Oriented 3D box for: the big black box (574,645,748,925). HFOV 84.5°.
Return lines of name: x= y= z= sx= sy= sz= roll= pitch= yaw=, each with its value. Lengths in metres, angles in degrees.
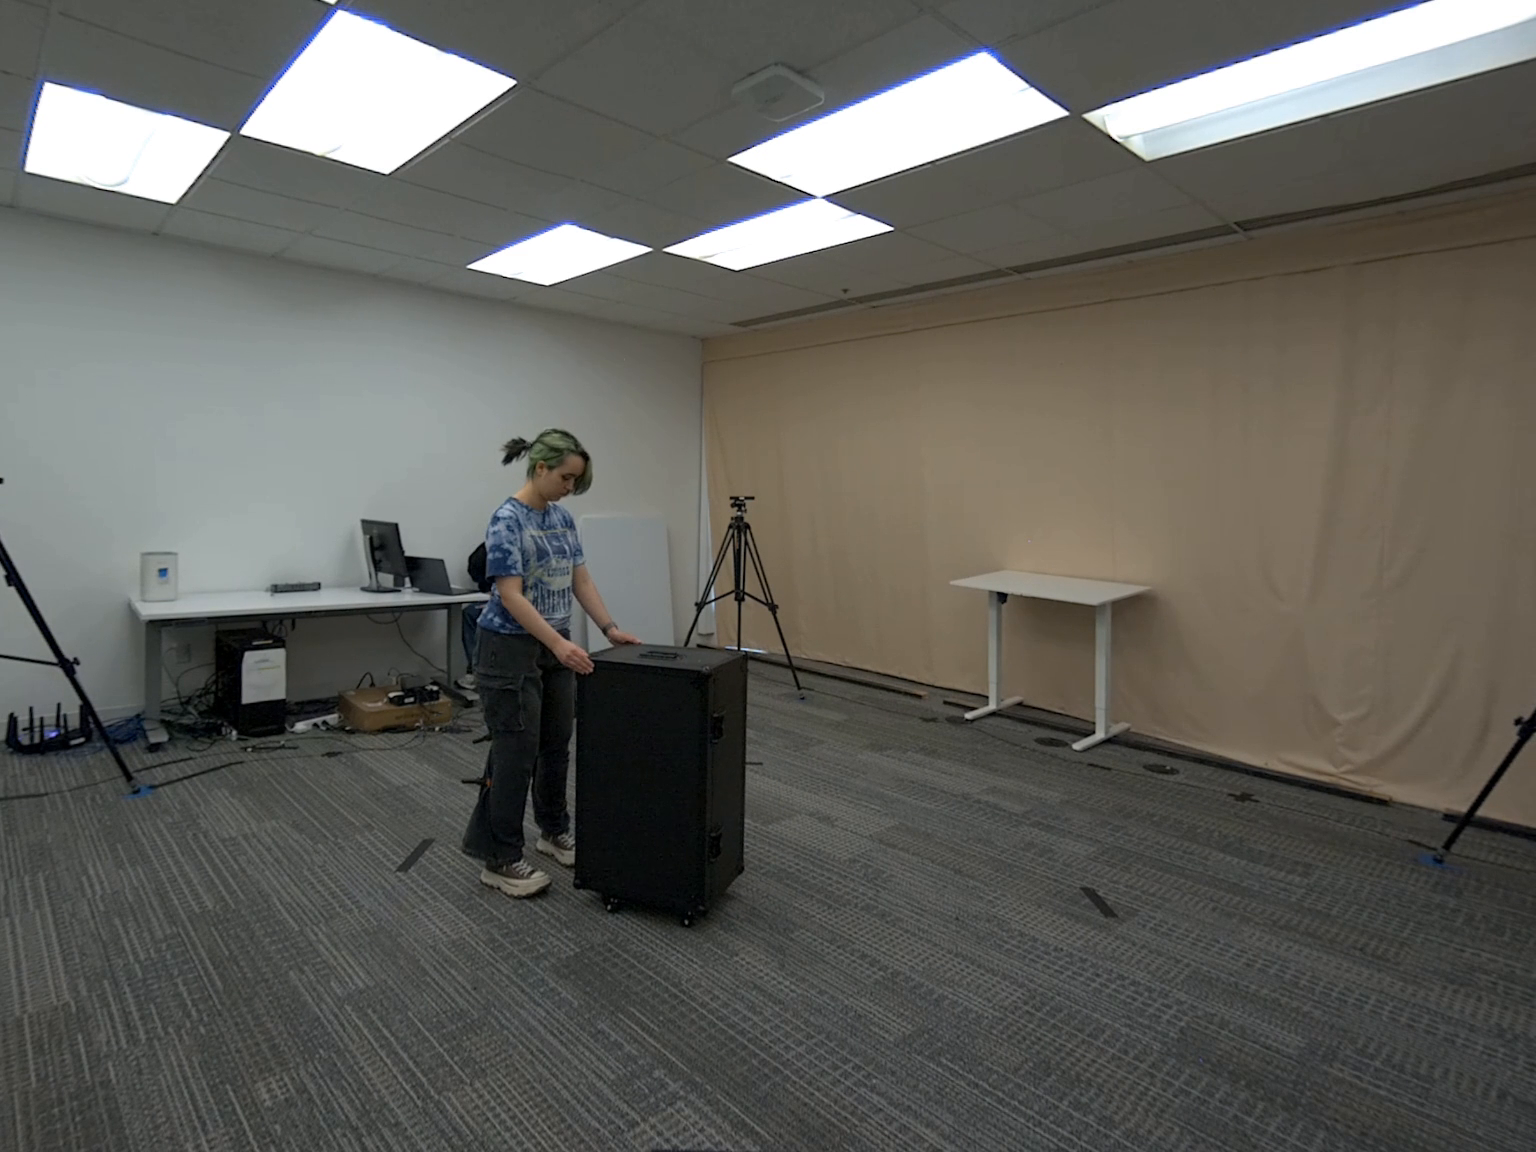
big black box: x=-0.369 y=0.694 z=2.891 sx=0.530 sy=0.860 sz=0.390 roll=2 pitch=3 yaw=21
